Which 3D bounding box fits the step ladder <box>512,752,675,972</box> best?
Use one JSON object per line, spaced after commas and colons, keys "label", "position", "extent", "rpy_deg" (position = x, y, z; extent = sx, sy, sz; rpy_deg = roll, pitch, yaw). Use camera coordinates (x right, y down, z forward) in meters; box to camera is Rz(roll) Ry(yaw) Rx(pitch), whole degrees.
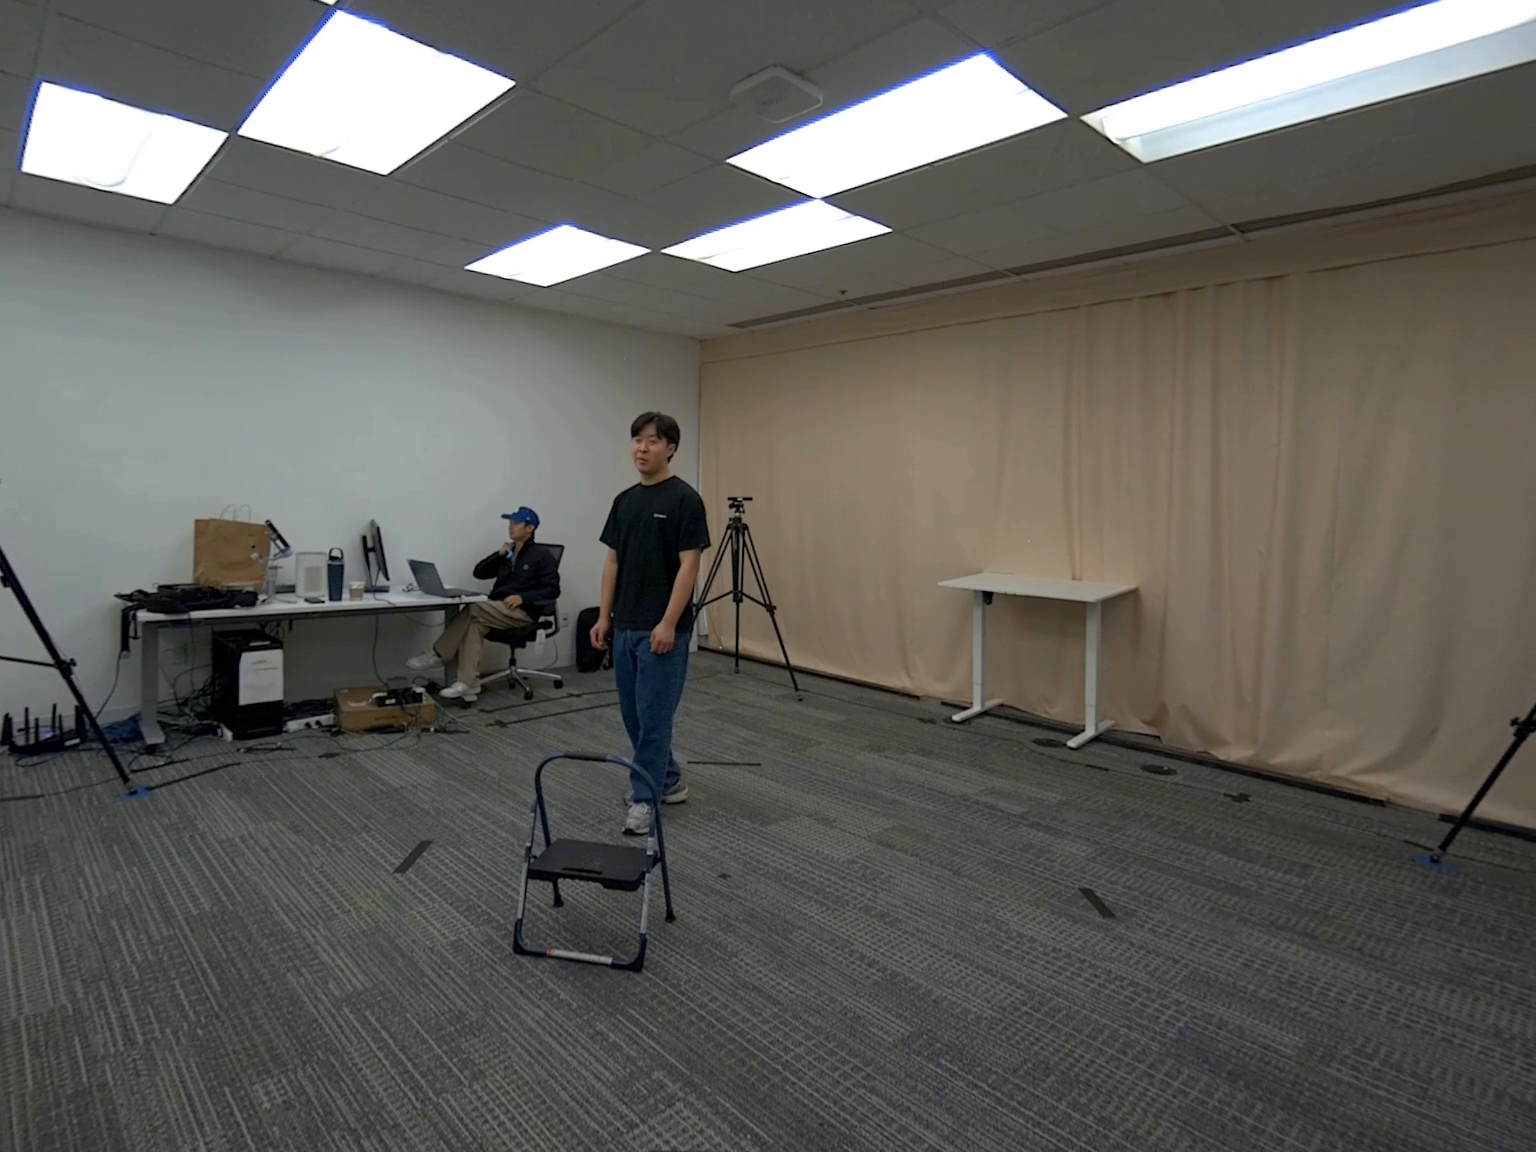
{"label": "step ladder", "position": [-0.541, 0.839, 2.649], "extent": [0.435, 0.605, 0.347], "rpy_deg": [2, 3, 11]}
